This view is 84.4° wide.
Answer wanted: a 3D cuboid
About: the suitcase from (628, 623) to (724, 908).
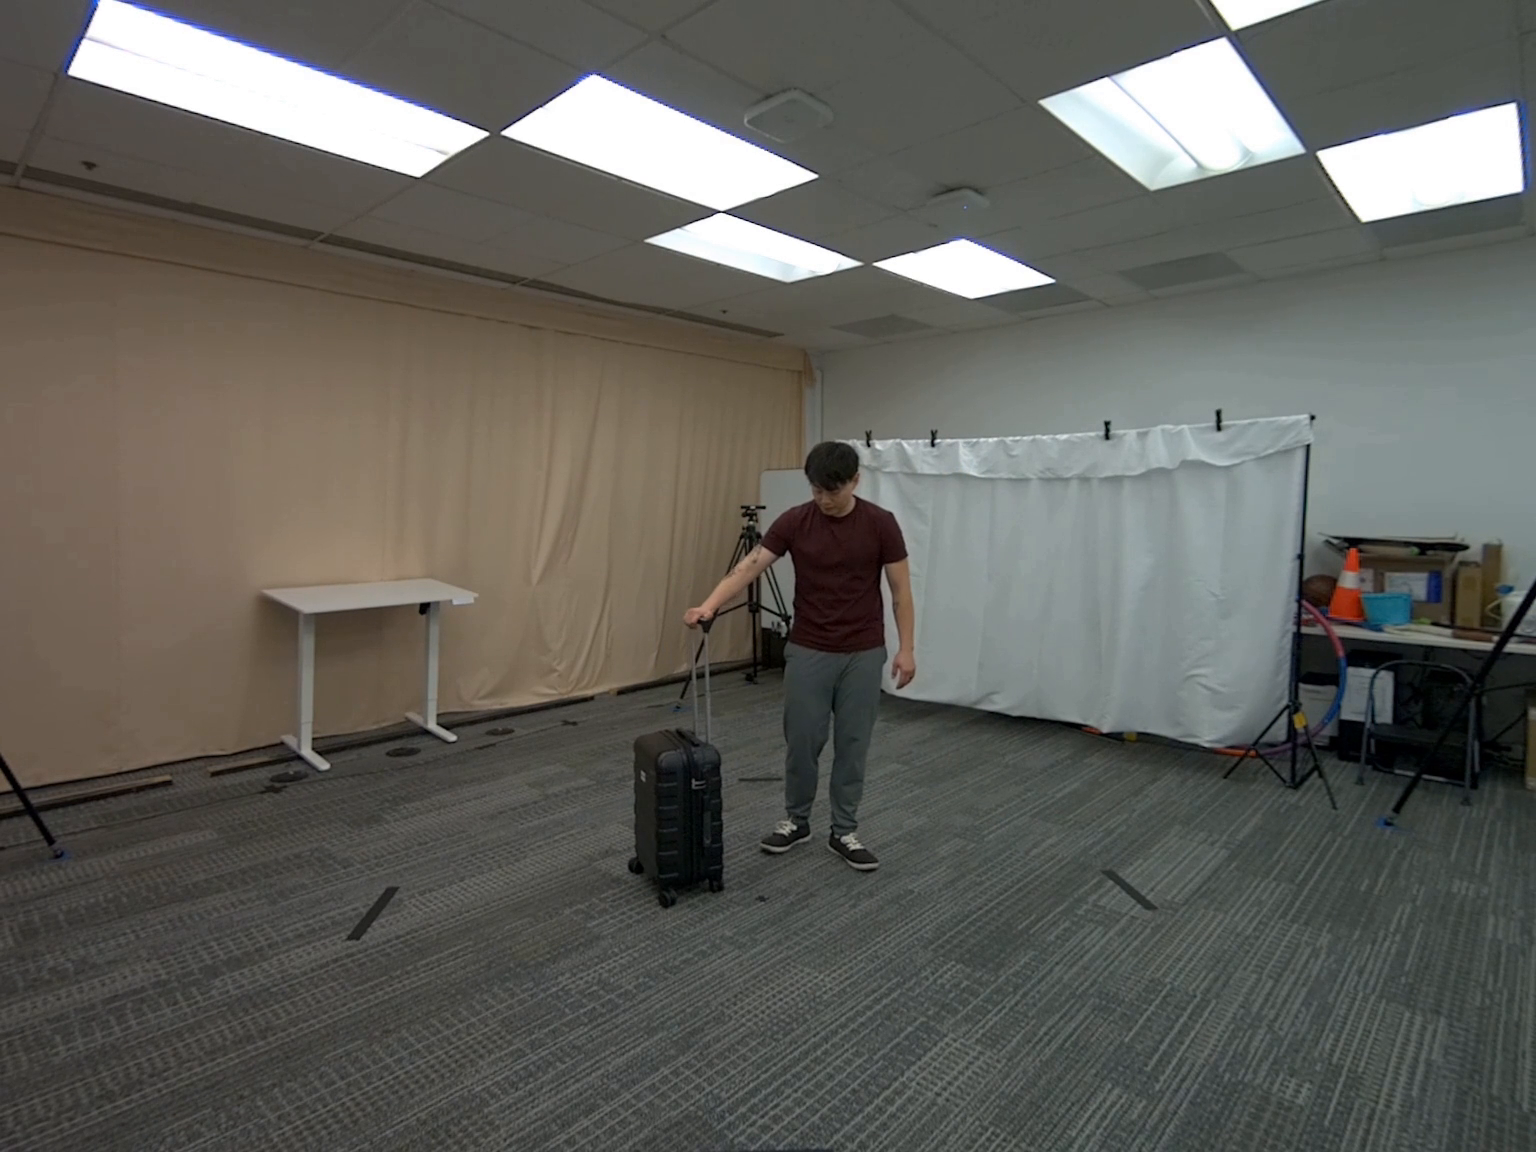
[{"bbox_3d":[-0.340,0.659,3.094,0.252,0.976,0.393,-3,4,-22],"label":"suitcase"}]
